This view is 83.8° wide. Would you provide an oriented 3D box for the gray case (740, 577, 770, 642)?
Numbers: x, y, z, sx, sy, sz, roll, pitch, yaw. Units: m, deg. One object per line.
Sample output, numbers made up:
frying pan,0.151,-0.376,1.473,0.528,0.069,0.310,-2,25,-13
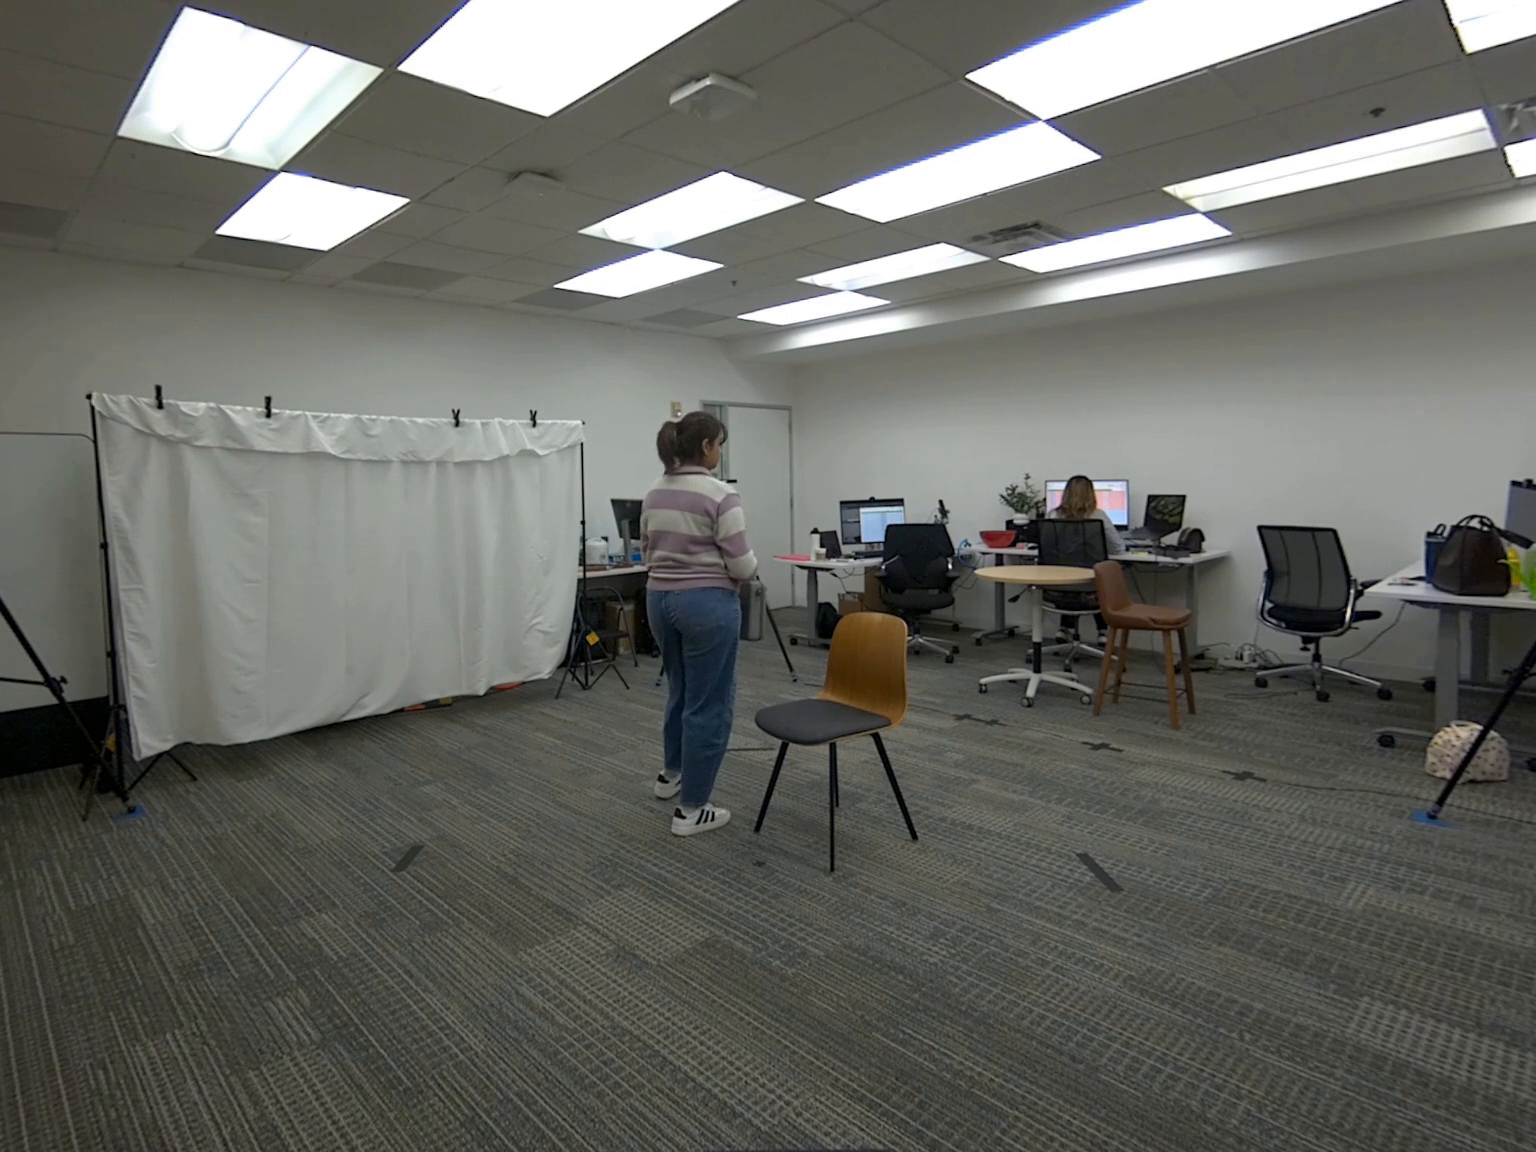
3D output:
gray case,-0.126,0.138,3.625,0.101,0.261,0.264,6,-5,-43
